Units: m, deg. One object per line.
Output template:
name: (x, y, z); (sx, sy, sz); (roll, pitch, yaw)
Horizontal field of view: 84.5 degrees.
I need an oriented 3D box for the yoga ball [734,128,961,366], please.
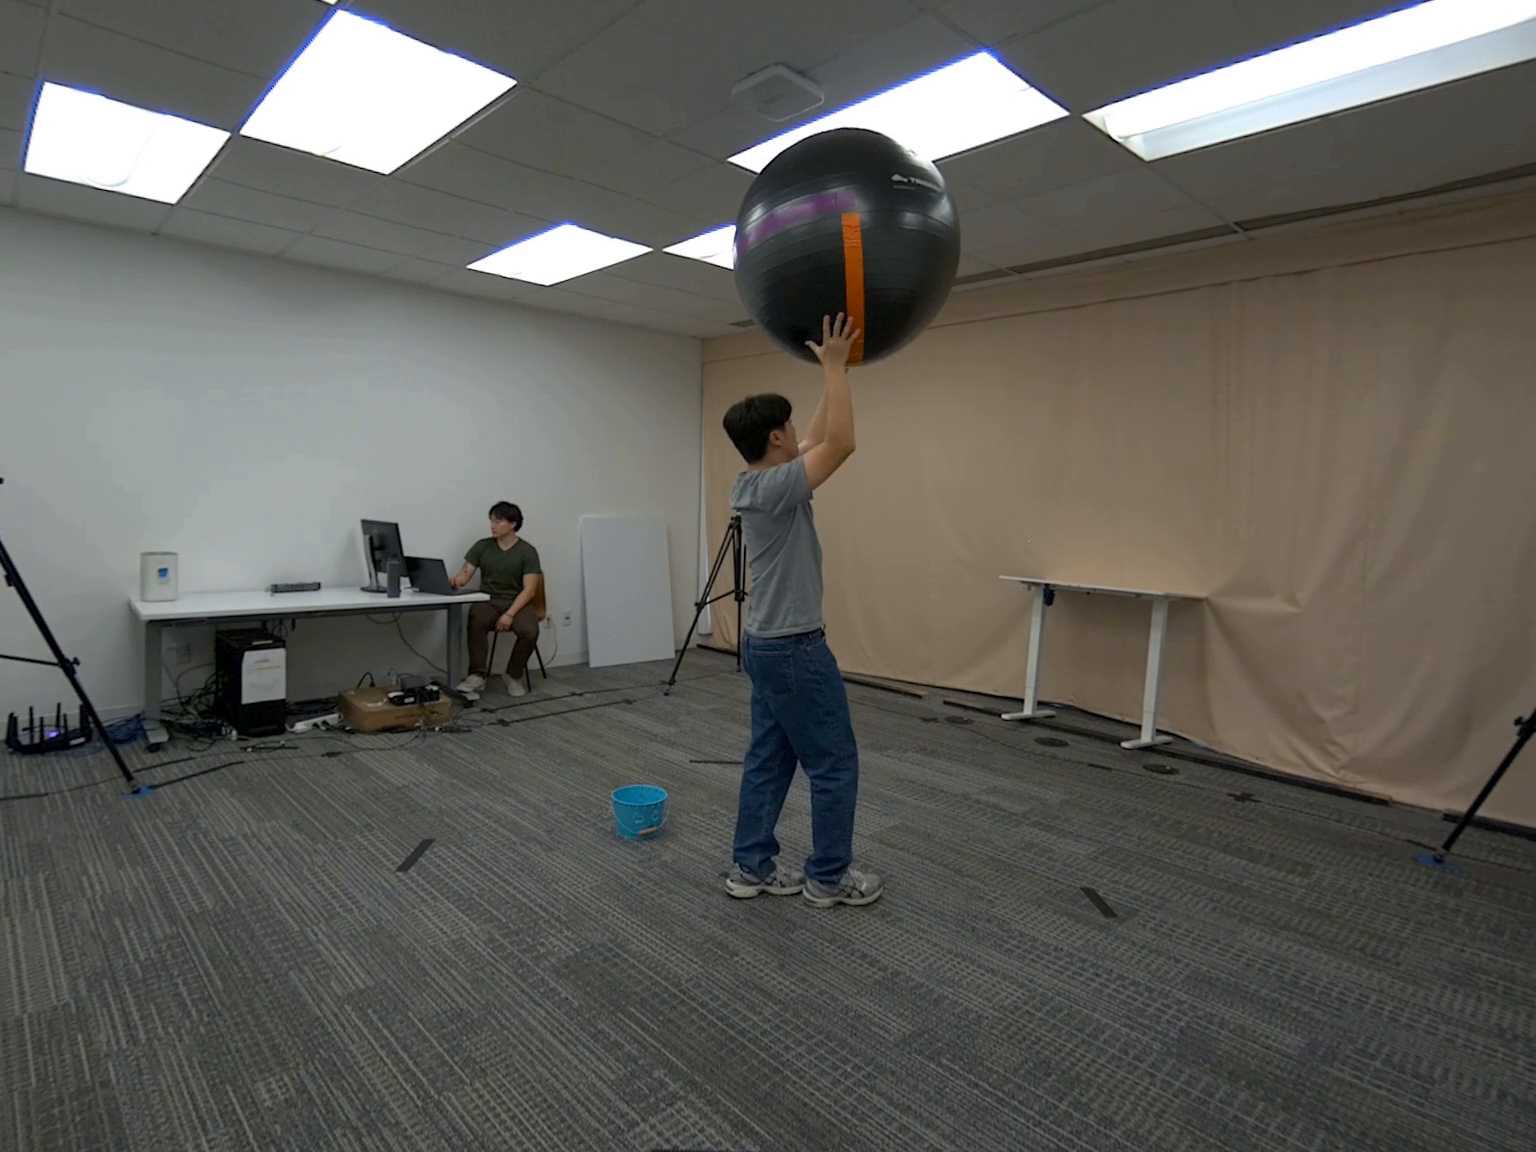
yoga ball: (0.254, -1.086, 2.832); (0.757, 0.756, 0.761); (1, 4, -1)
